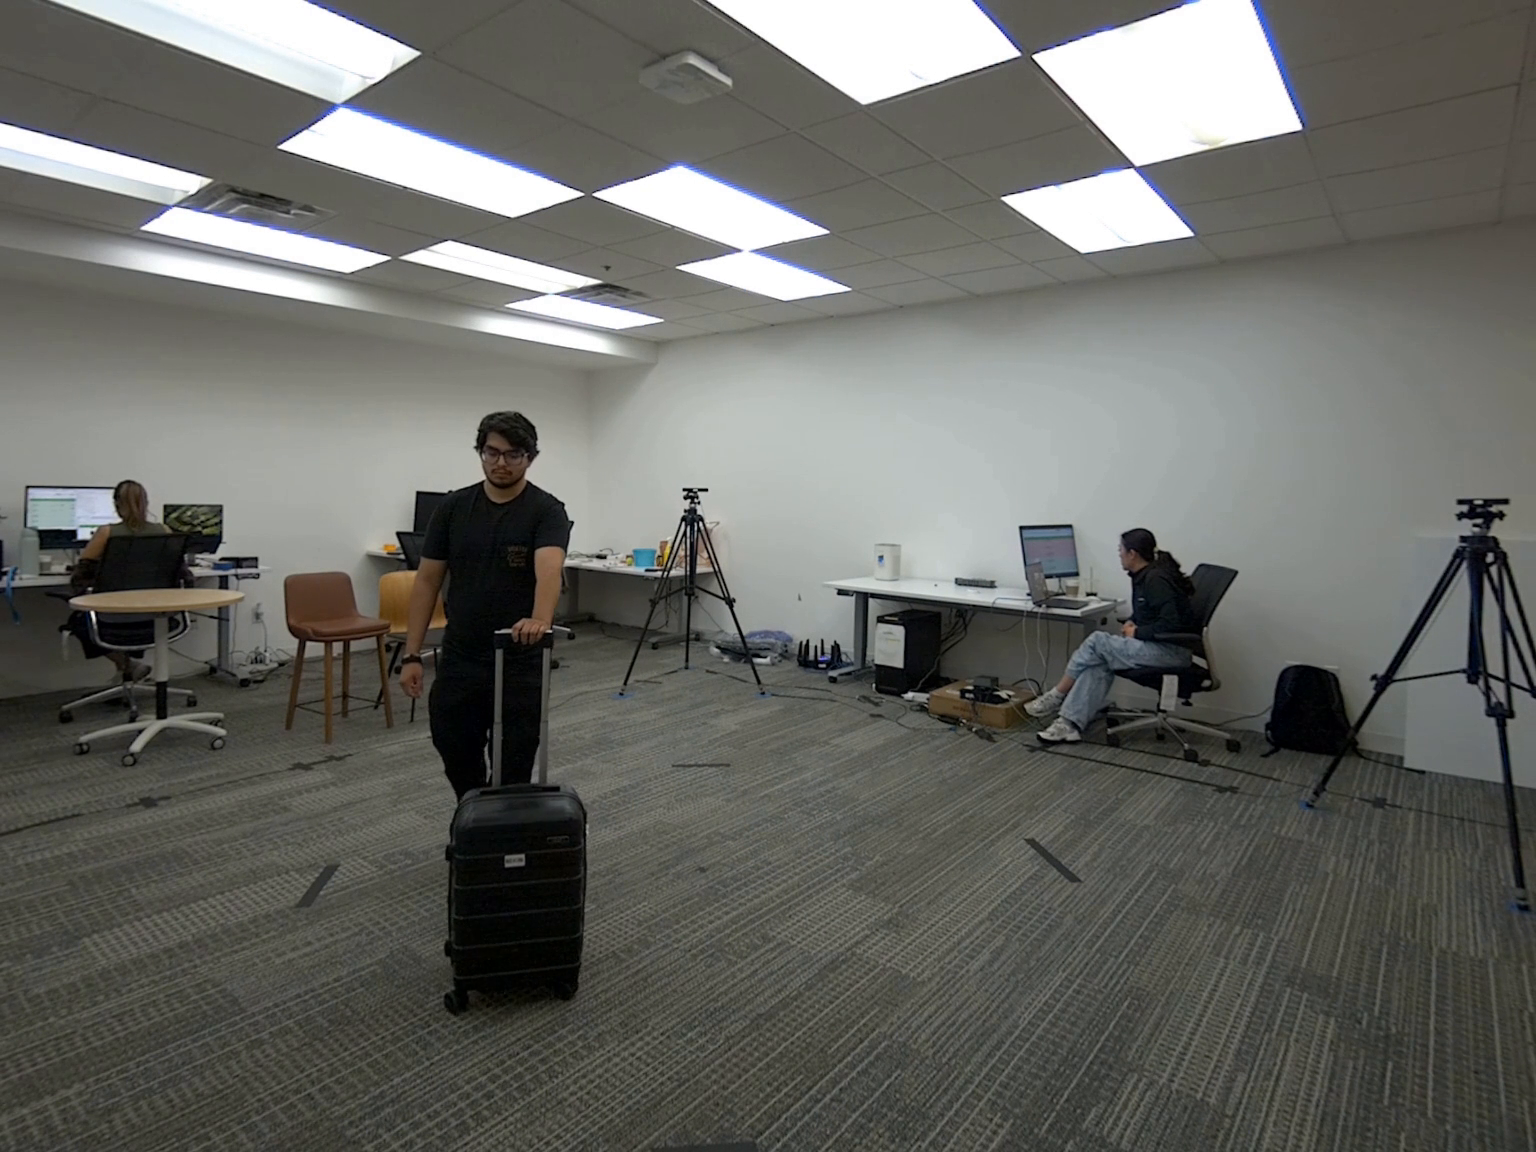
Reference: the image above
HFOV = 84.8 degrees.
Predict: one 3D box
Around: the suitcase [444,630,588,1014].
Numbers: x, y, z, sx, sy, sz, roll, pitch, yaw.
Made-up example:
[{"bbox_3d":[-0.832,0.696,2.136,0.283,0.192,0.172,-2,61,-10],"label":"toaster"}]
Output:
[{"bbox_3d":[-0.693,0.660,2.334,0.379,0.973,0.262,1,6,-12],"label":"suitcase"}]
